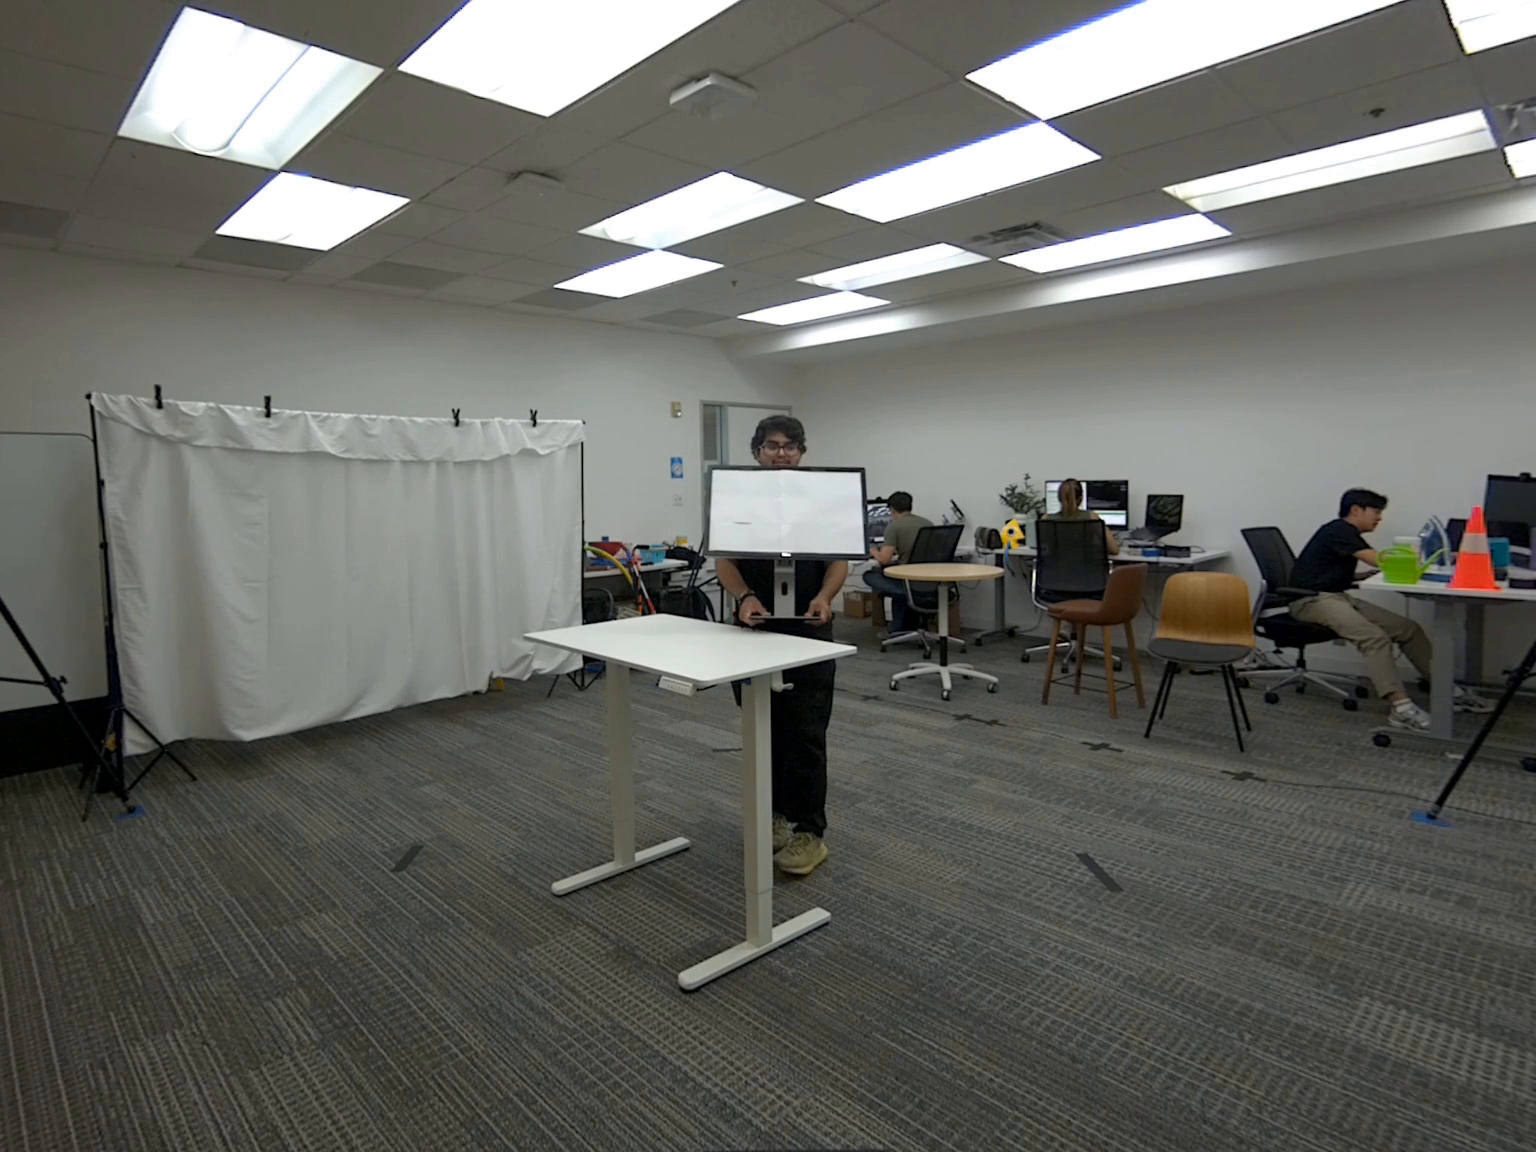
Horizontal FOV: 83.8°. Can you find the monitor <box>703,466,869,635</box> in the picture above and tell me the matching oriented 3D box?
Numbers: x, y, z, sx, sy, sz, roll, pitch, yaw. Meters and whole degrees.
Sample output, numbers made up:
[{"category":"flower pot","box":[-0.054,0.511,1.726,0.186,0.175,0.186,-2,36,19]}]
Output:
[{"category":"monitor","box":[0.058,-0.110,2.988,0.565,0.564,0.206,0,-20,0]}]
